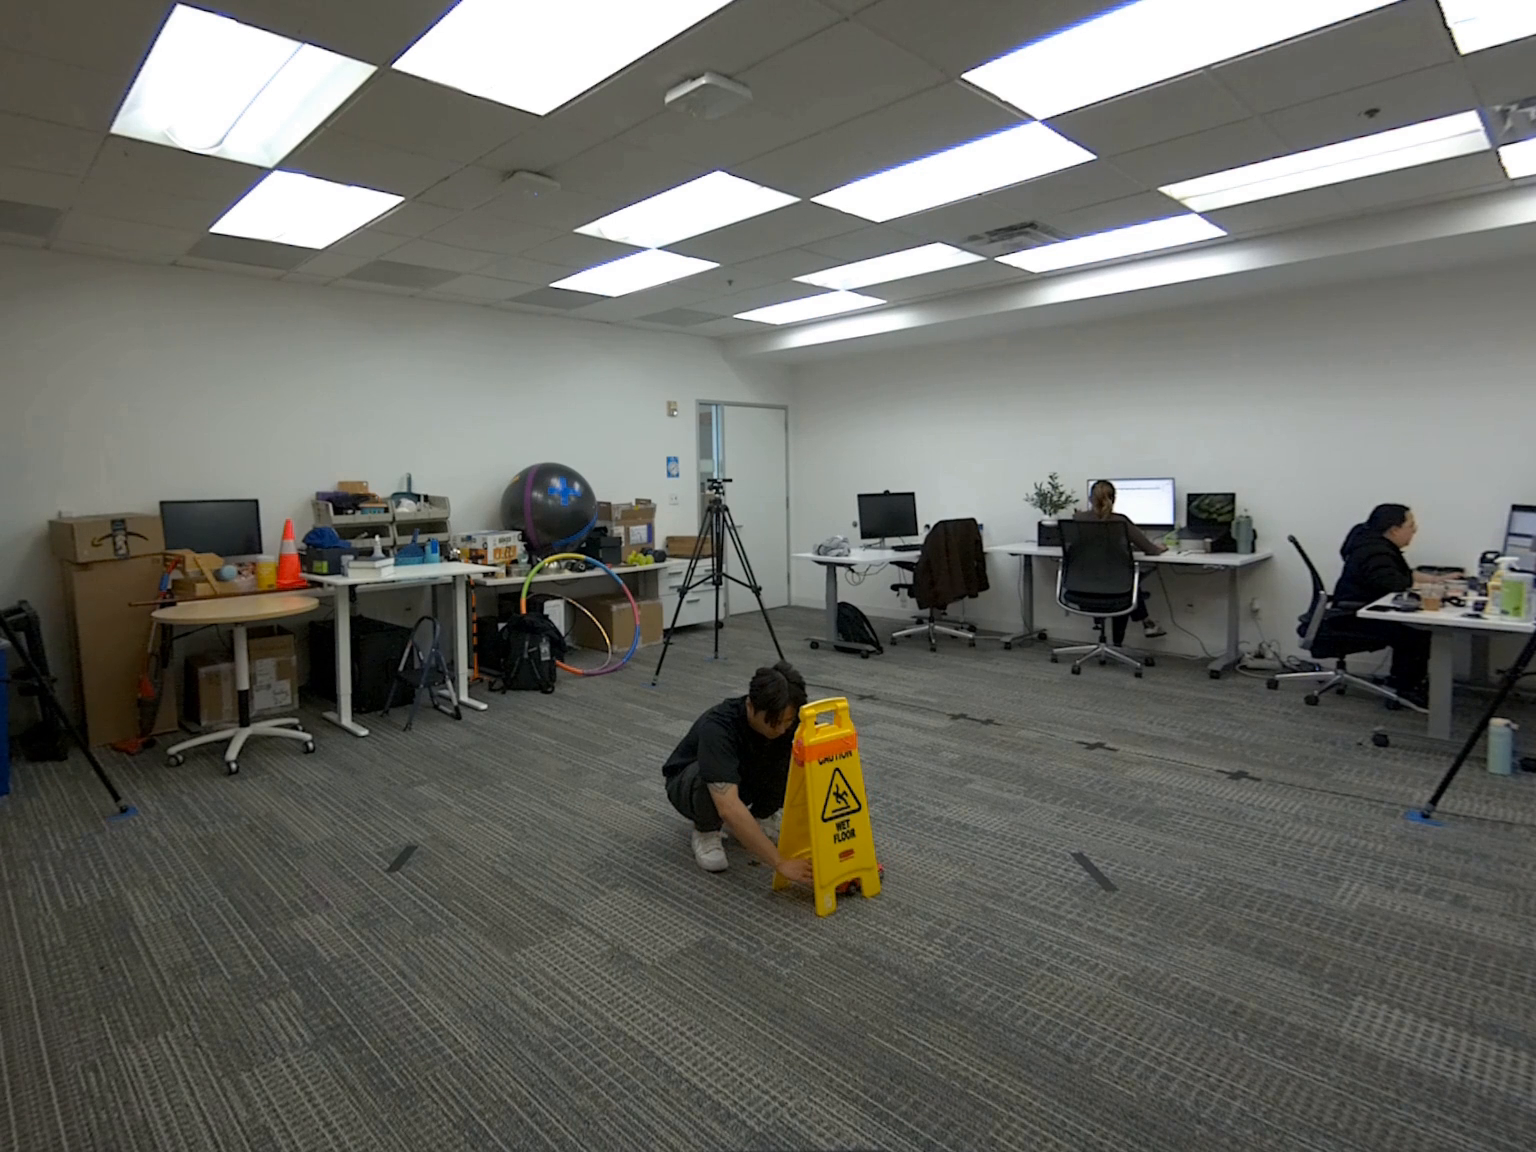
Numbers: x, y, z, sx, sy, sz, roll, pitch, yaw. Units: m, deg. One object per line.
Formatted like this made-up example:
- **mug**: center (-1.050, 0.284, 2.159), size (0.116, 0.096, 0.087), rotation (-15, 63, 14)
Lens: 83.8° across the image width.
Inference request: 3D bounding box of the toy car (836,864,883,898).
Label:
- **toy car**: center (0.288, 1.030, 2.920), size (0.247, 0.083, 0.134), rotation (5, 2, -39)
